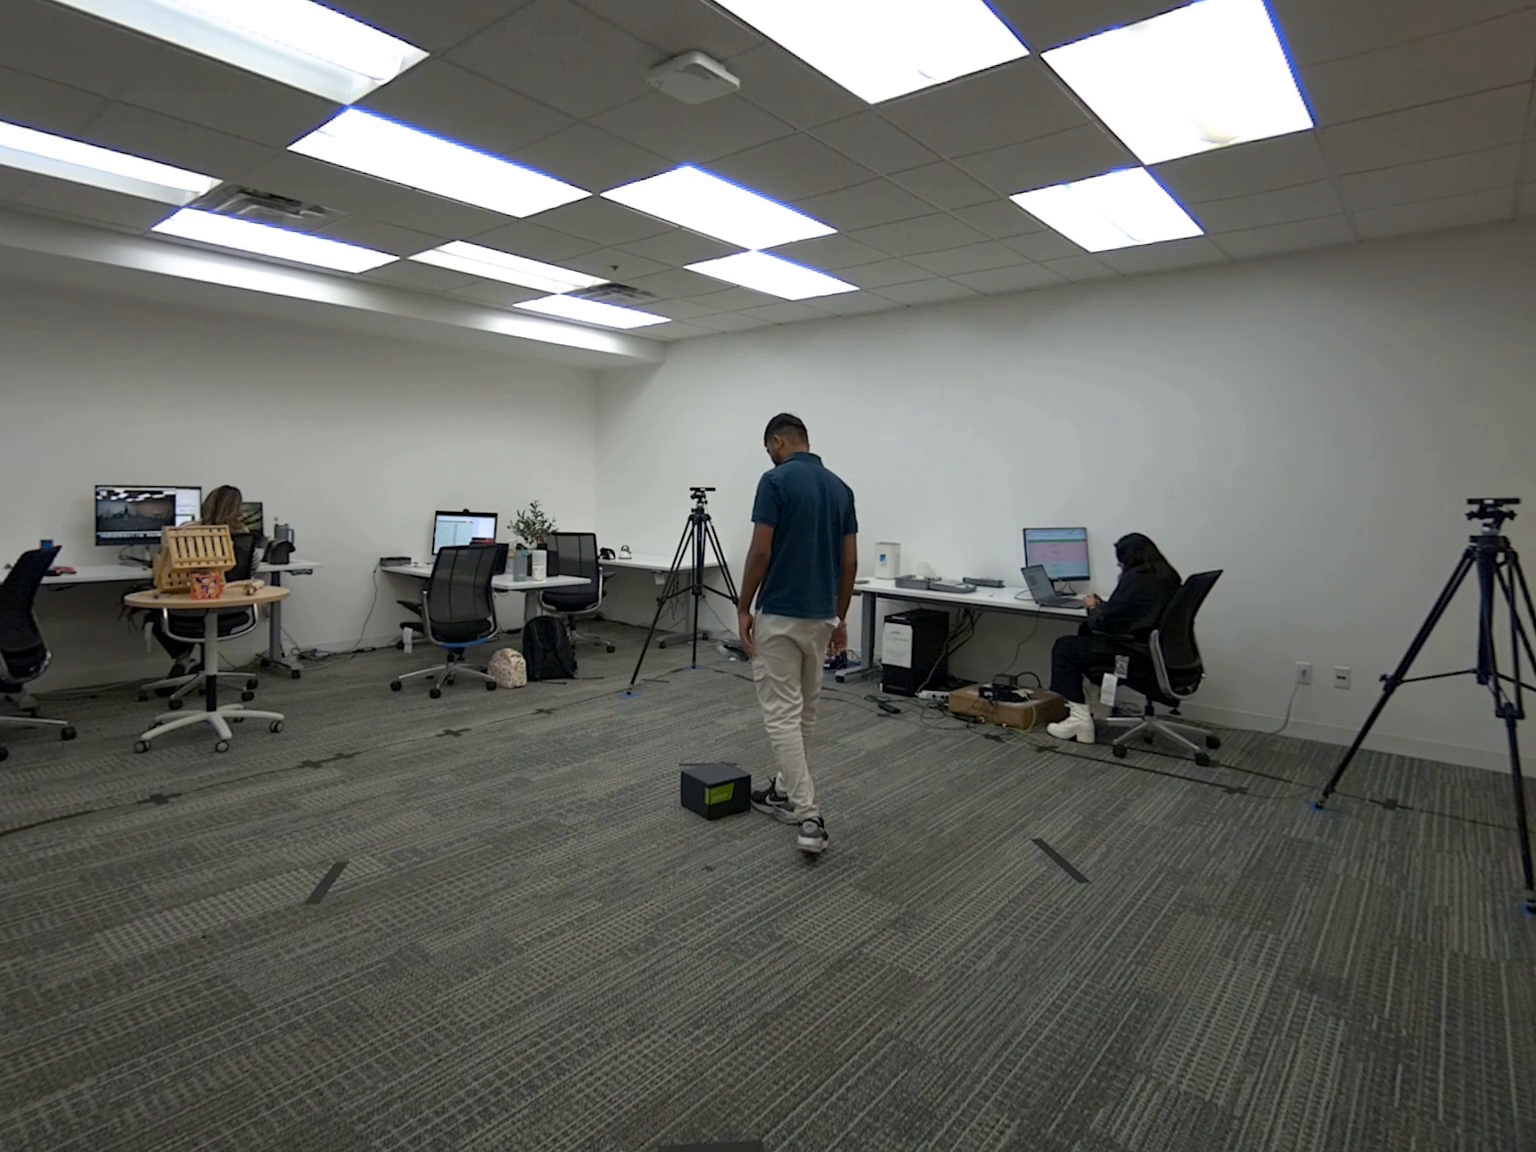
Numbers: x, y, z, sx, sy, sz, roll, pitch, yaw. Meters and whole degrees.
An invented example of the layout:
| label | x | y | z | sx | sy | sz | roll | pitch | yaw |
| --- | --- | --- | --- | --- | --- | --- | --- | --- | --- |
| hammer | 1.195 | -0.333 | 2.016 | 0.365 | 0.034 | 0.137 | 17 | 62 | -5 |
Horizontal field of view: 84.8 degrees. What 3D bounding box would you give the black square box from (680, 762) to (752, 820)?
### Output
| label | x | y | z | sx | sy | sz | roll | pitch | yaw |
| --- | --- | --- | --- | --- | --- | --- | --- | --- | --- |
| black square box | -0.237 | 0.926 | 3.701 | 0.221 | 0.155 | 0.224 | -3 | 6 | -39 |
